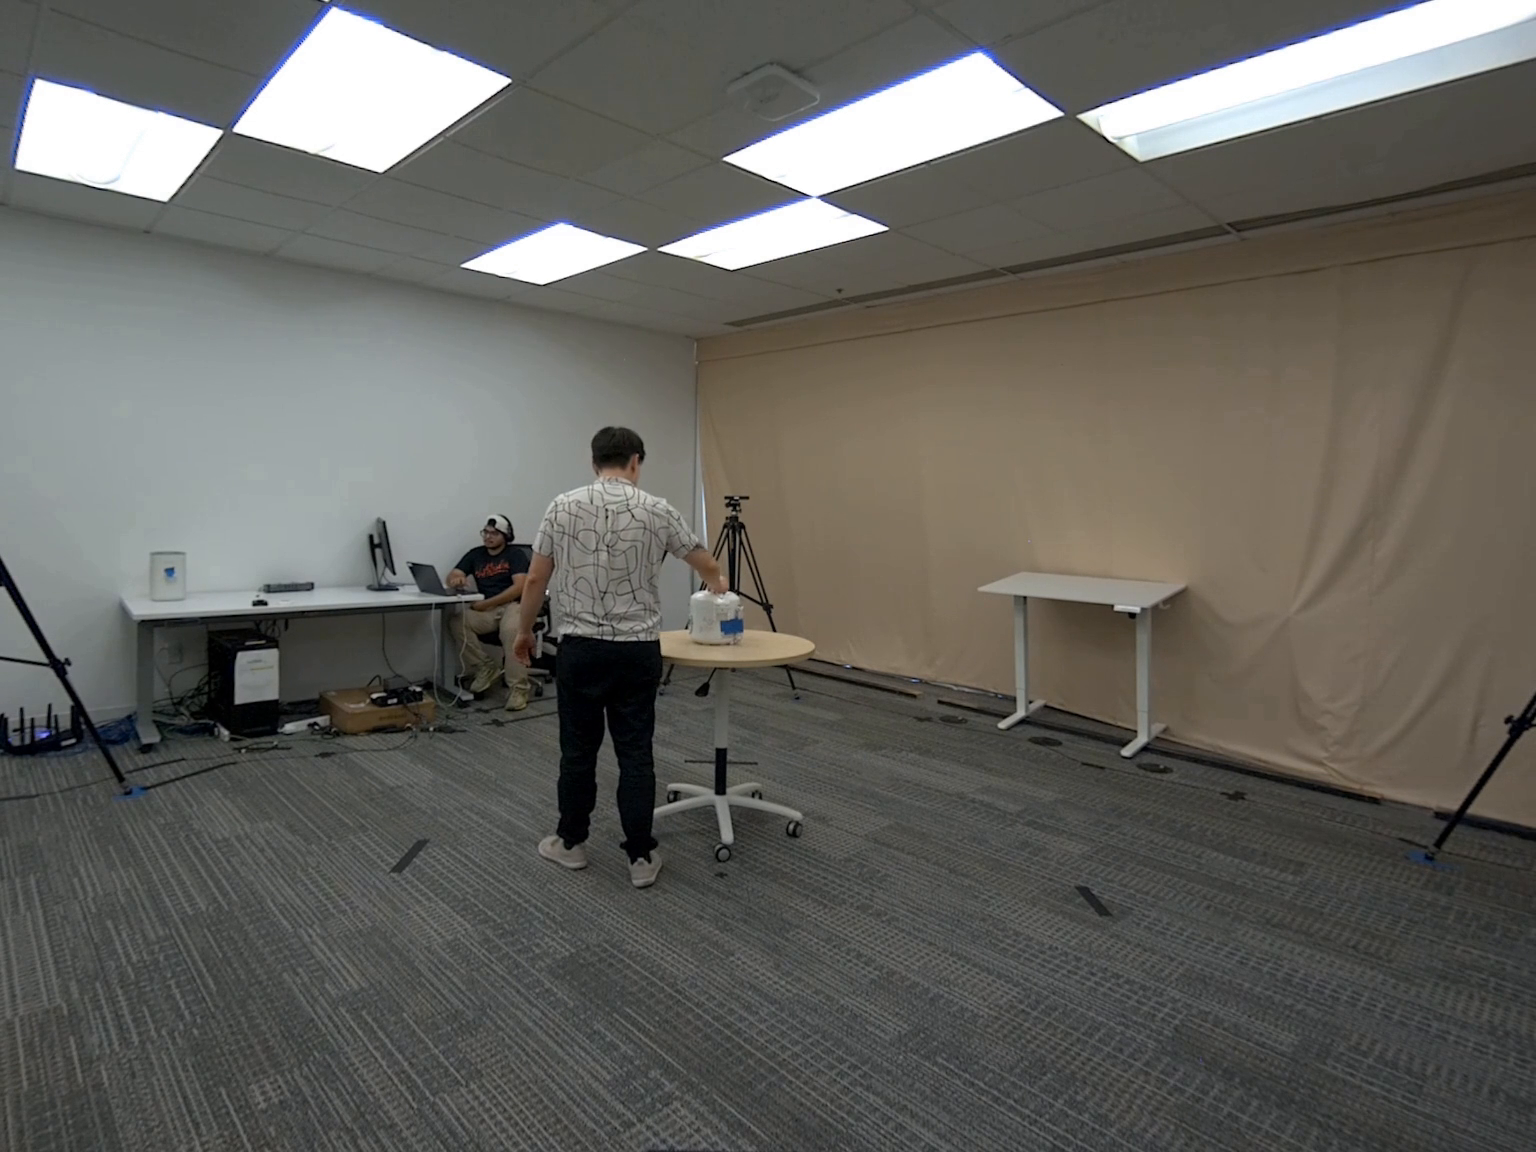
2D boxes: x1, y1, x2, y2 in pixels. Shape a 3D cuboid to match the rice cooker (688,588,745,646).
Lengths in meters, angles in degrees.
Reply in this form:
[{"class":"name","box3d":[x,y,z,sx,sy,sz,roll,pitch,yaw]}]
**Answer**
[{"class":"rice cooker","box3d":[-0.228,0.159,3.539,0.214,0.232,0.224,0,5,-17]}]
